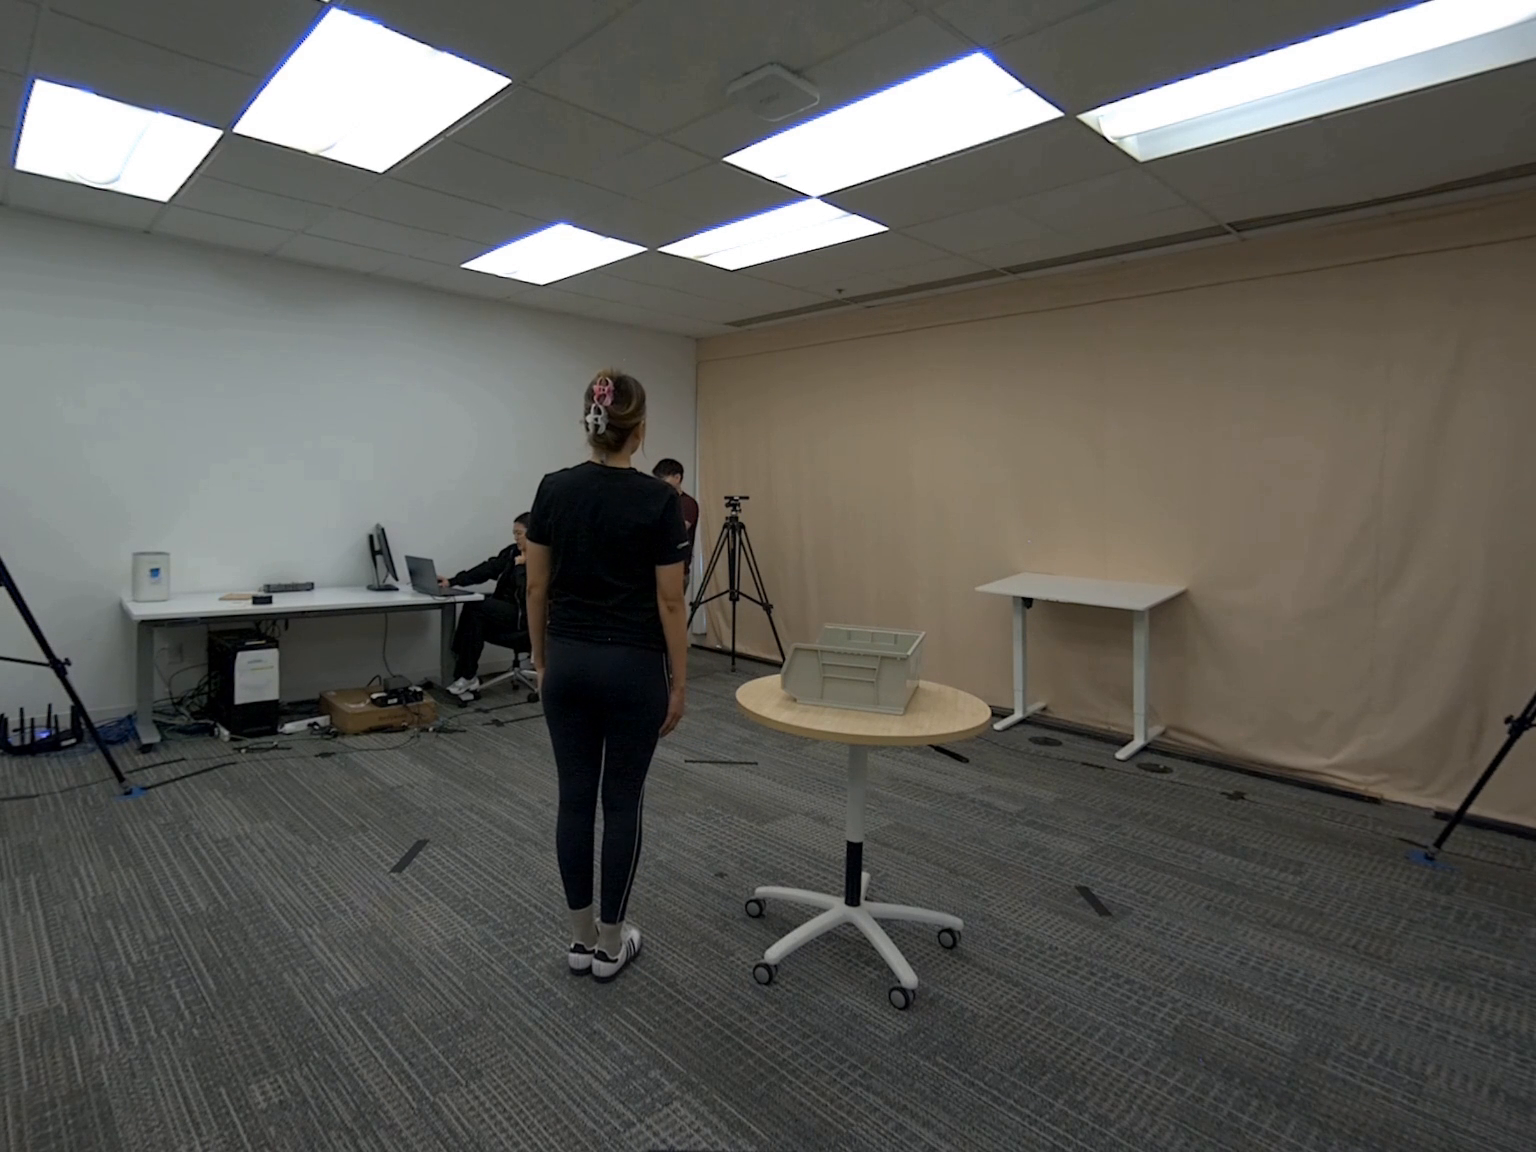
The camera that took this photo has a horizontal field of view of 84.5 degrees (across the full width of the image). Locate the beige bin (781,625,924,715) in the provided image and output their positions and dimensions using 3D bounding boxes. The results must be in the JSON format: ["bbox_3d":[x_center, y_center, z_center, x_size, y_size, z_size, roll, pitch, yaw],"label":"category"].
[{"bbox_3d":[0.271,0.282,2.634,0.383,0.188,0.417,5,5,17],"label":"beige bin"}]
